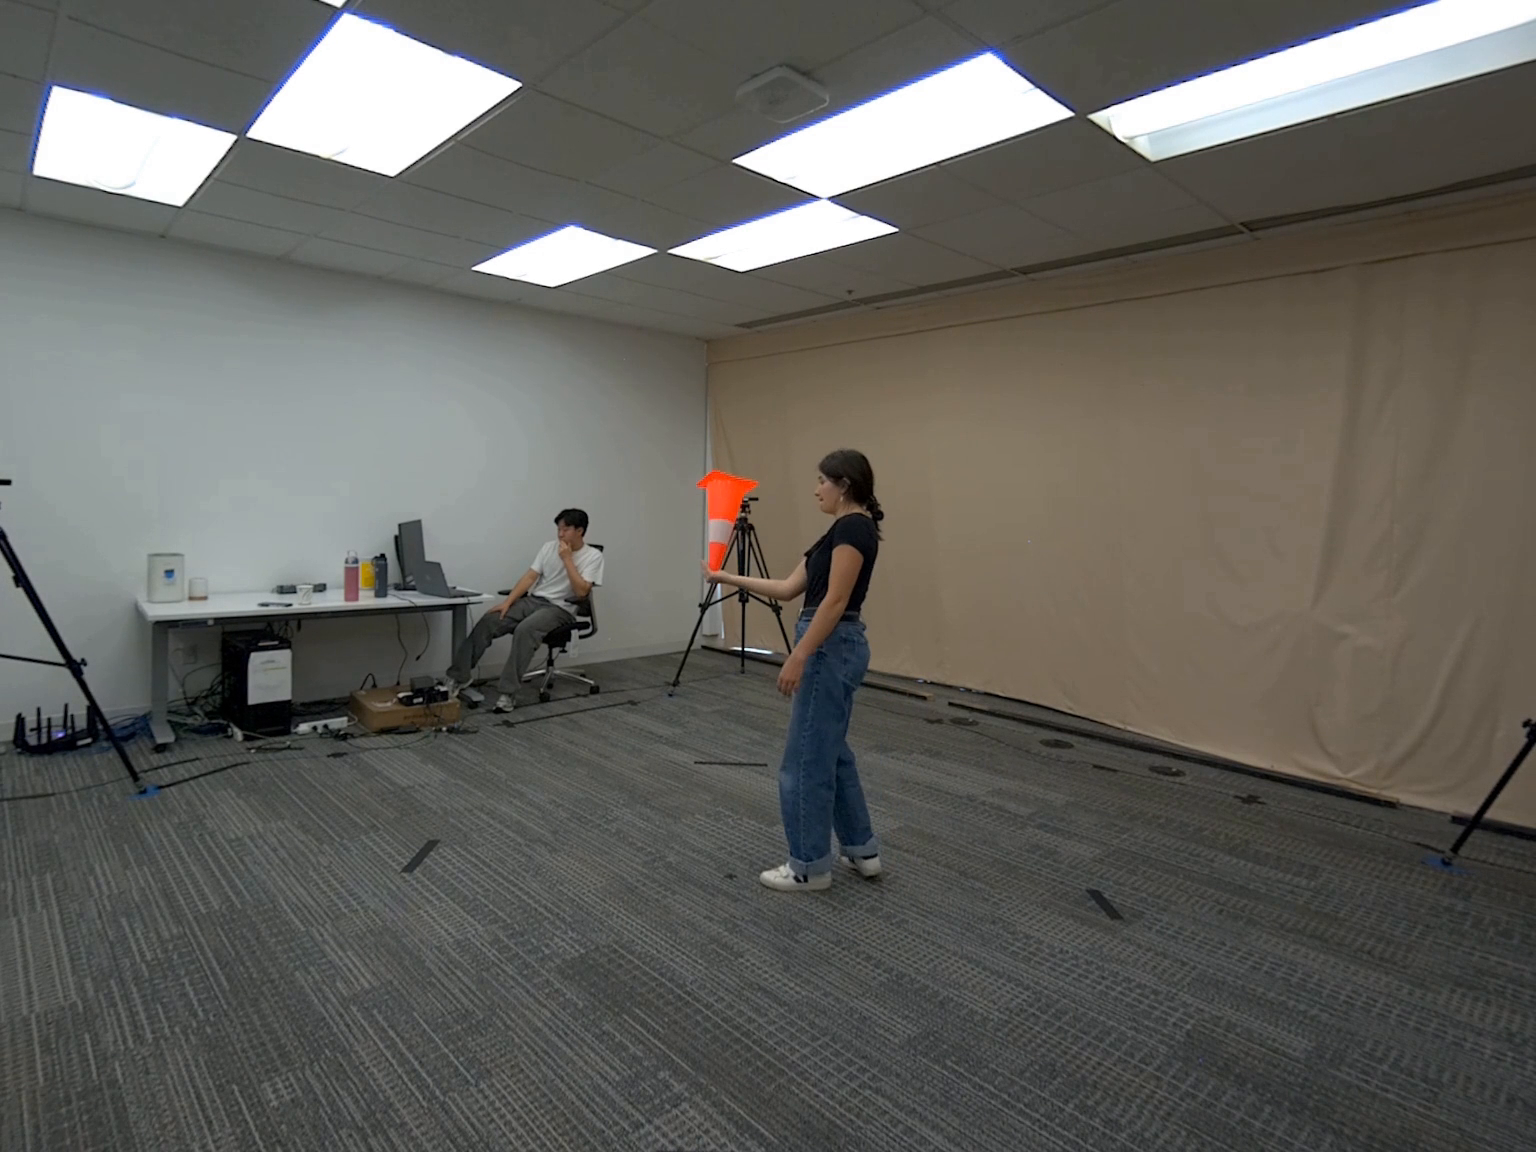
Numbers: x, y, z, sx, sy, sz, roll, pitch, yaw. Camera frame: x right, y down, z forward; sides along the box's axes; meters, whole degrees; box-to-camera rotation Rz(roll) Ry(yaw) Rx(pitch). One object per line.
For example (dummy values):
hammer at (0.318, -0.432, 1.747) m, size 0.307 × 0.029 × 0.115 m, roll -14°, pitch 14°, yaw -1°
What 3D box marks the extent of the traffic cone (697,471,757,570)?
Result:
traffic cone at (-0.196, -0.183, 3.307) m, size 0.201 × 0.387 × 0.205 m, roll 14°, pitch -17°, yaw -19°
